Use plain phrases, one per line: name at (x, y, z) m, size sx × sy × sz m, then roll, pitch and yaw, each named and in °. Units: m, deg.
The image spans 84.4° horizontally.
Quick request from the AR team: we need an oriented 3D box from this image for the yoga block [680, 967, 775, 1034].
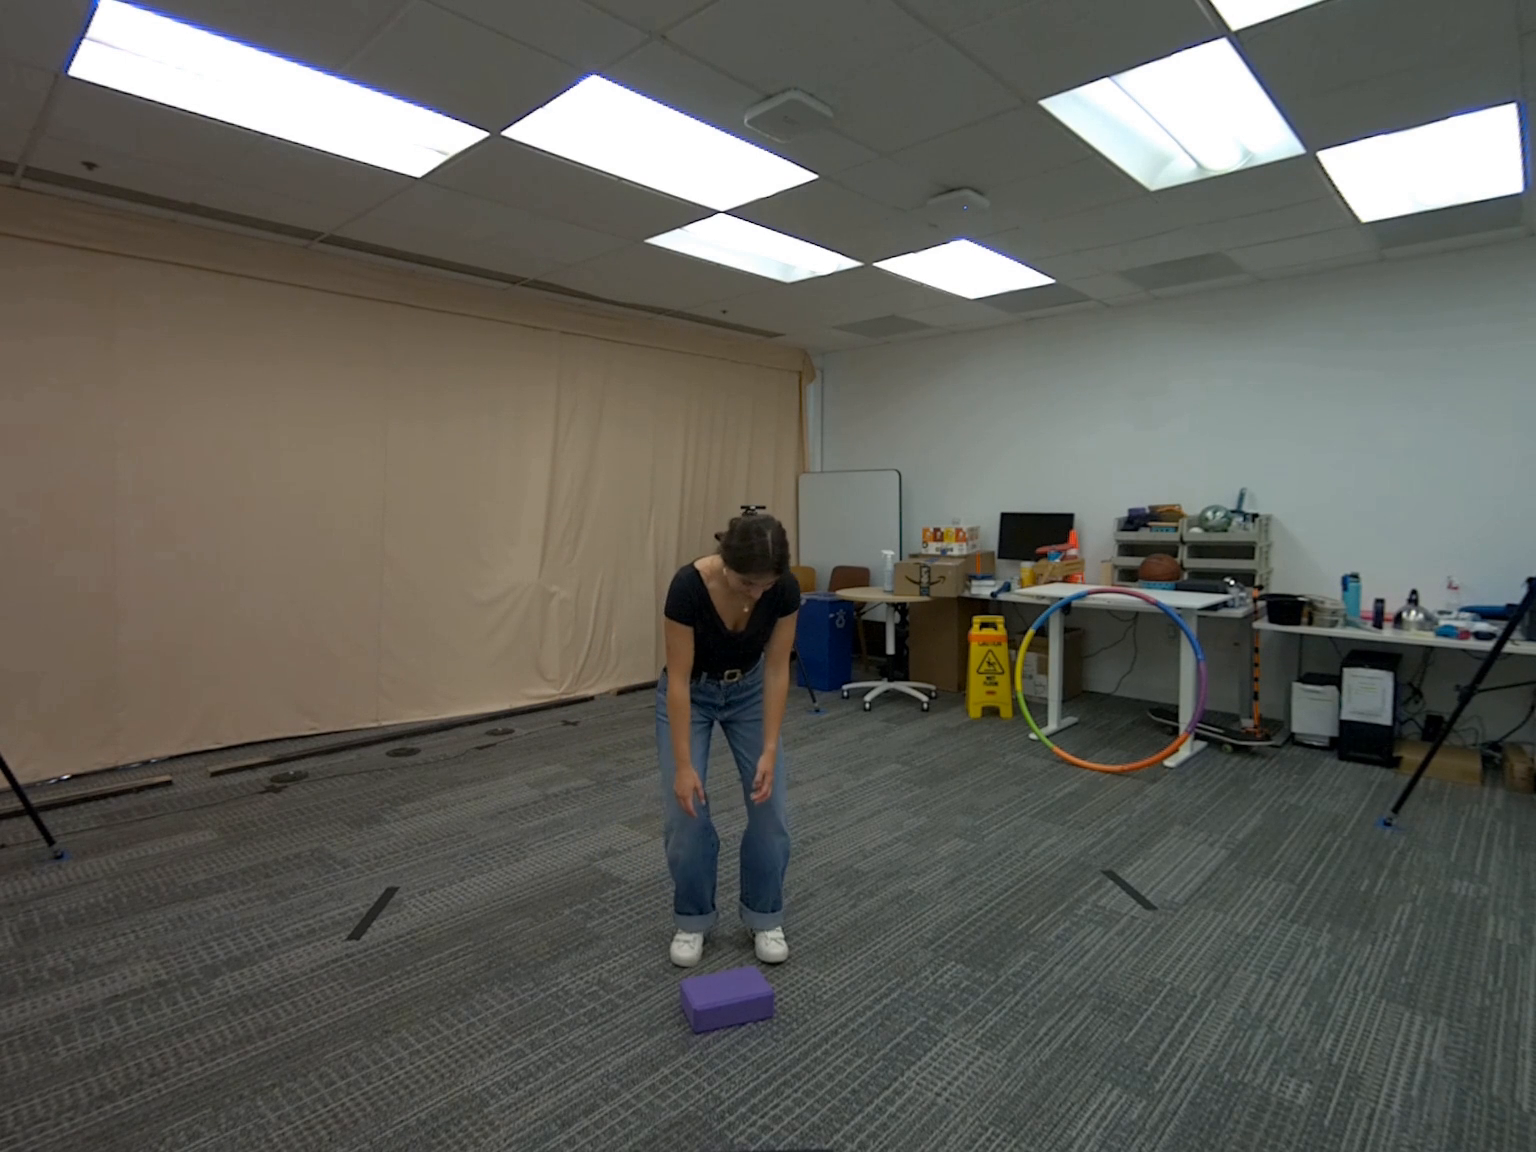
yoga block at (-0.114, 1.161, 2.312) m, size 0.225 × 0.076 × 0.152 m, roll -2°, pitch 5°, yaw -19°
